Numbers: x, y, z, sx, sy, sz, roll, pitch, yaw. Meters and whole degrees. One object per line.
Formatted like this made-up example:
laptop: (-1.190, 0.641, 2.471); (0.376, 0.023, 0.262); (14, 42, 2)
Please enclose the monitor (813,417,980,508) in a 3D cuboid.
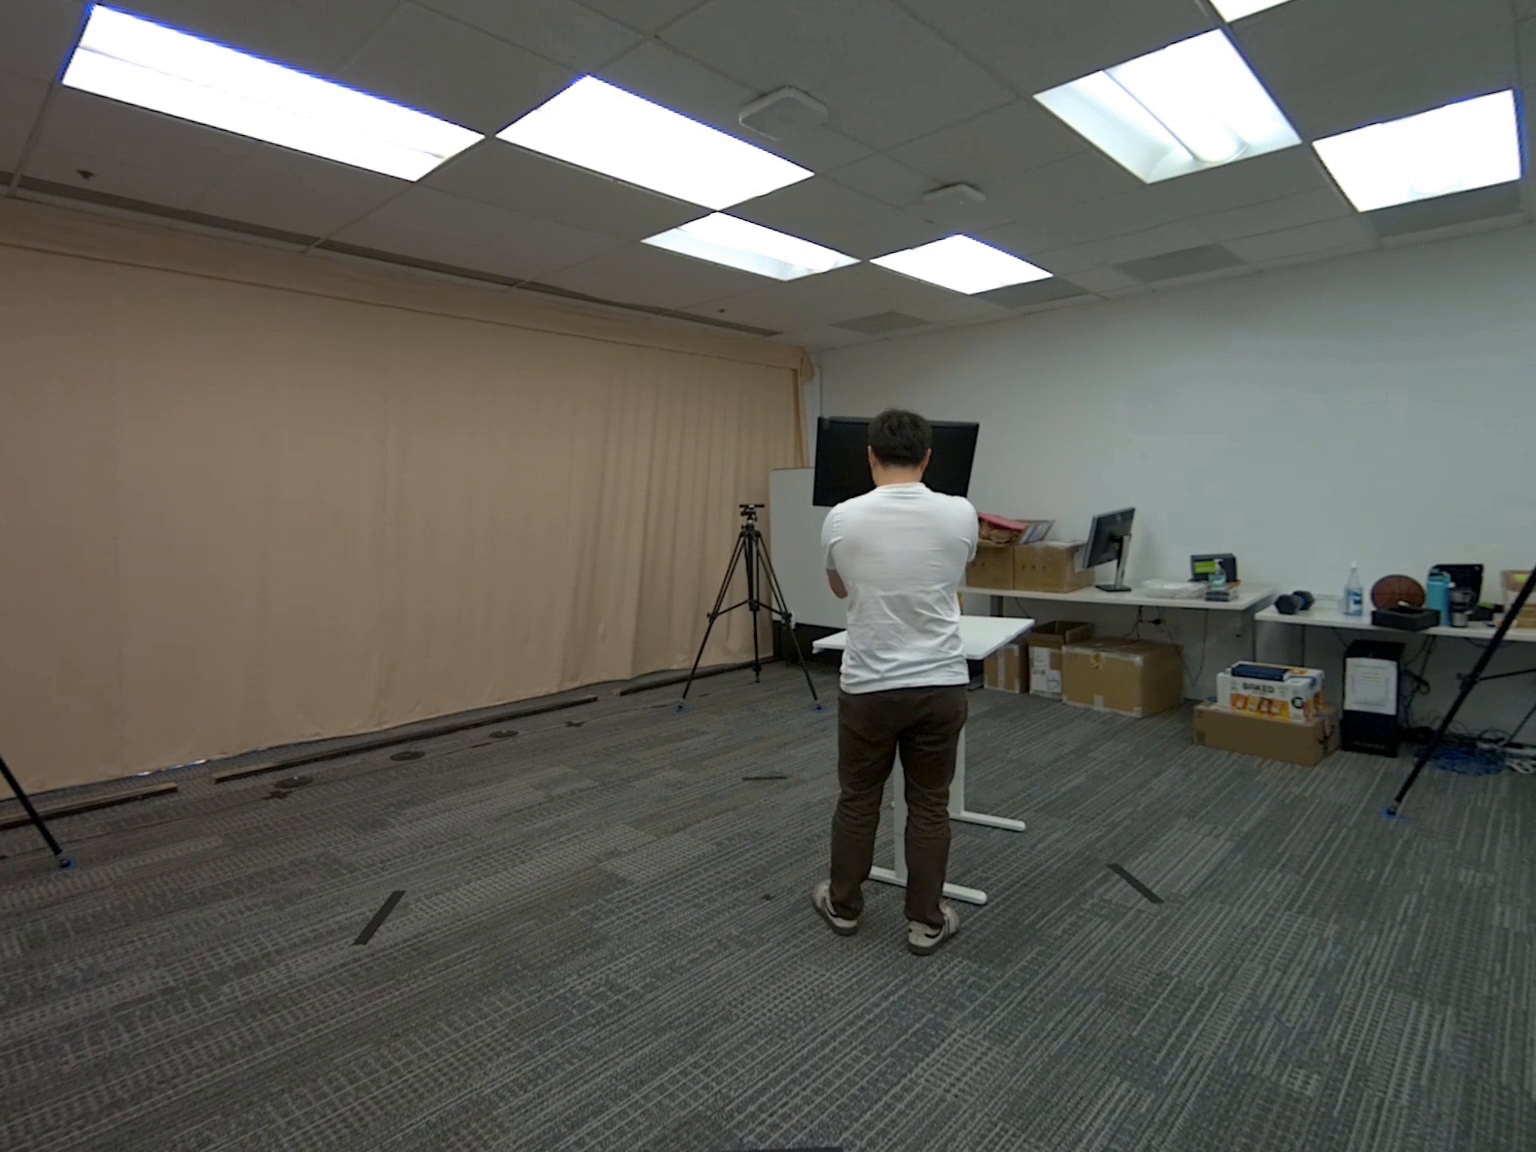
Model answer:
monitor: (0.433, -0.287, 2.911); (0.543, 0.516, 0.188); (3, 20, 6)
